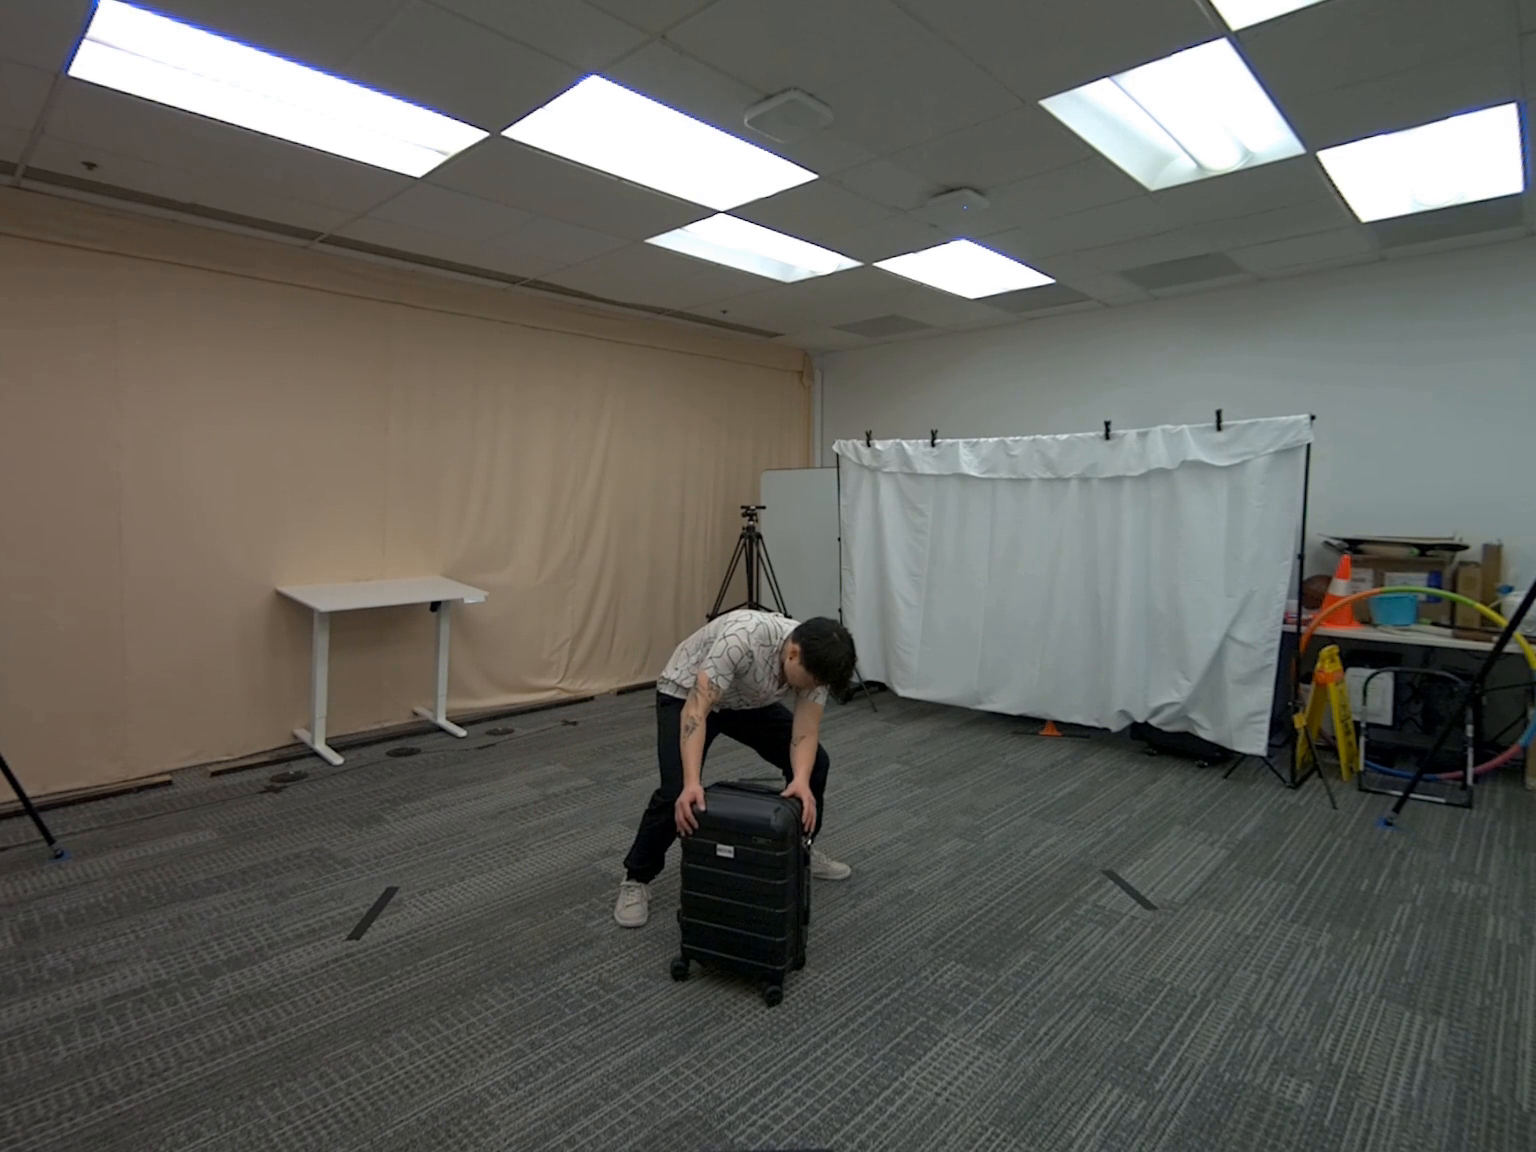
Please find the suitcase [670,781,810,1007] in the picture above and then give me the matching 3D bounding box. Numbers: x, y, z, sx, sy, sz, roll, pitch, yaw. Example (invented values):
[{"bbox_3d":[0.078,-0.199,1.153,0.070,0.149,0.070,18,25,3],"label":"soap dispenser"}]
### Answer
[{"bbox_3d":[-0.066,0.911,2.503,0.385,0.548,0.243,2,3,23],"label":"suitcase"}]
